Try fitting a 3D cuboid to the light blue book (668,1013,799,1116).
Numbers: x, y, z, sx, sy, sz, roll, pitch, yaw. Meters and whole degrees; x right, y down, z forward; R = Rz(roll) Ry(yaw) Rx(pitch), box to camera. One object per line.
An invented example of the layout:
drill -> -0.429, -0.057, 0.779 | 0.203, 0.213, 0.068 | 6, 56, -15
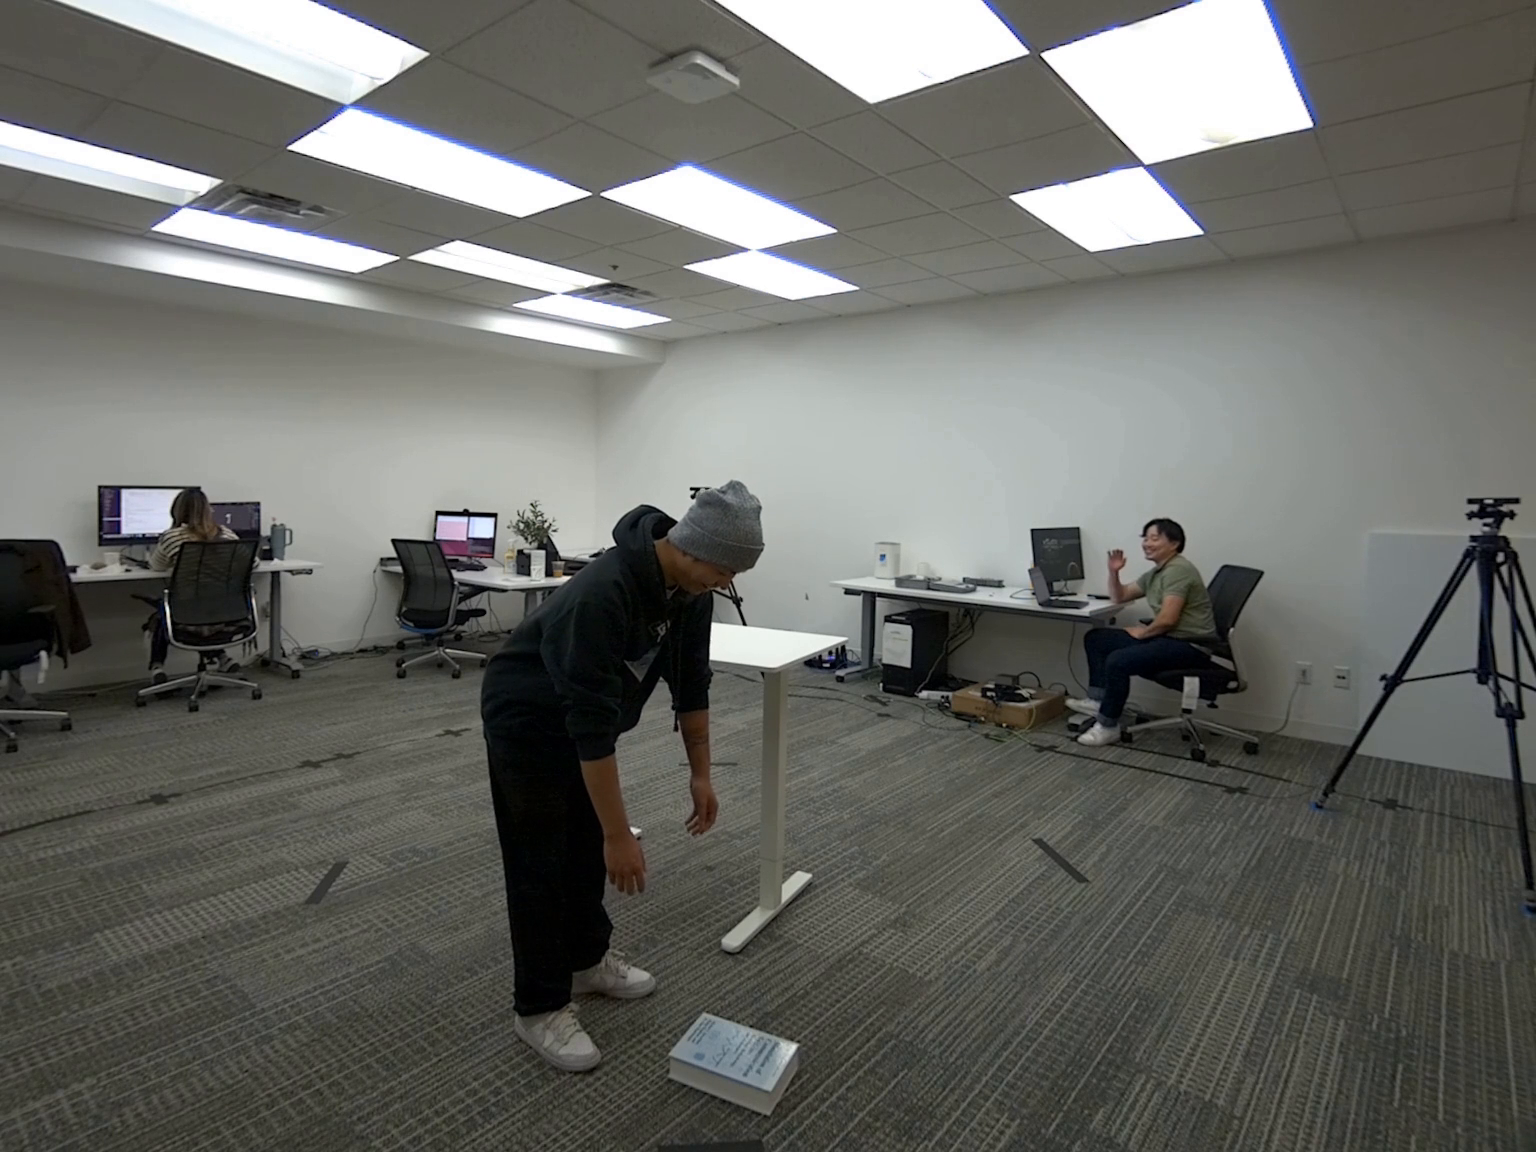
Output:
light blue book -> -0.085, 1.154, 2.018 | 0.268, 0.059, 0.187 | 4, 7, 25
